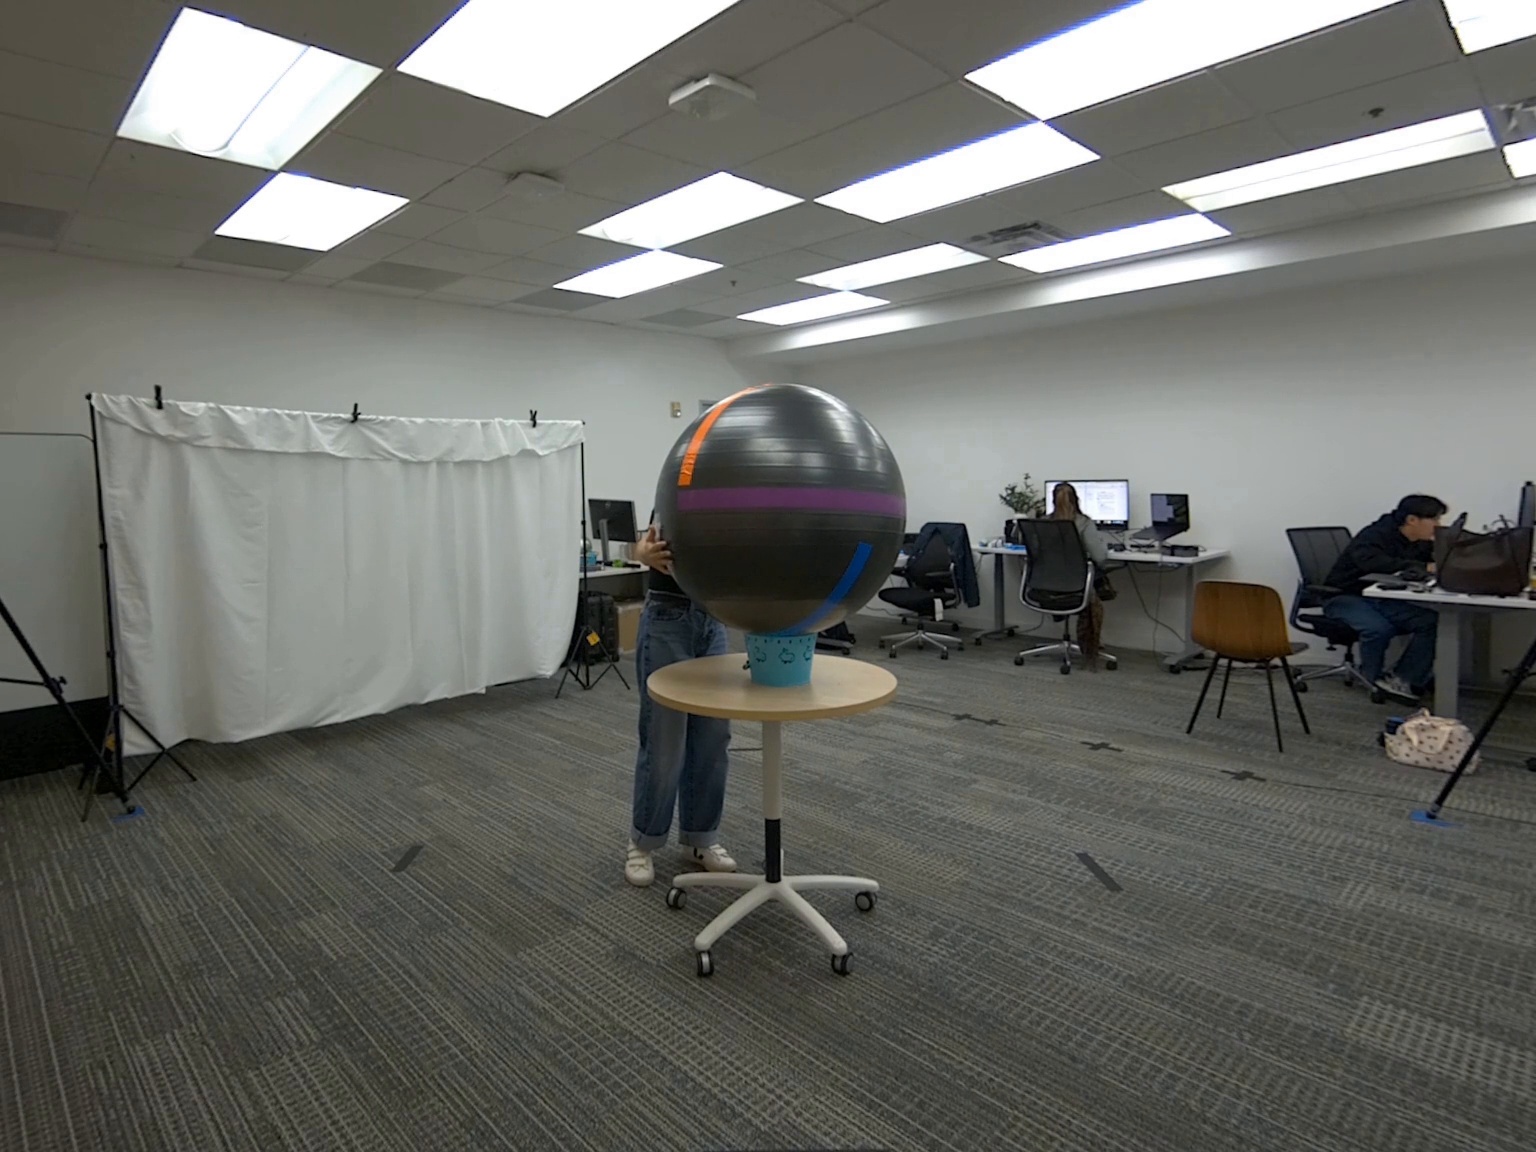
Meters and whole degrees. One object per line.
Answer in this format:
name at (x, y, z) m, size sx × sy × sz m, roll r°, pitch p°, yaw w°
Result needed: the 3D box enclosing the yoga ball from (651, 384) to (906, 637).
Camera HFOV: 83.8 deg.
yoga ball at (0.037, -0.194, 2.591) m, size 0.757 × 0.755 × 0.762 m, roll -1°, pitch 5°, yaw -2°
